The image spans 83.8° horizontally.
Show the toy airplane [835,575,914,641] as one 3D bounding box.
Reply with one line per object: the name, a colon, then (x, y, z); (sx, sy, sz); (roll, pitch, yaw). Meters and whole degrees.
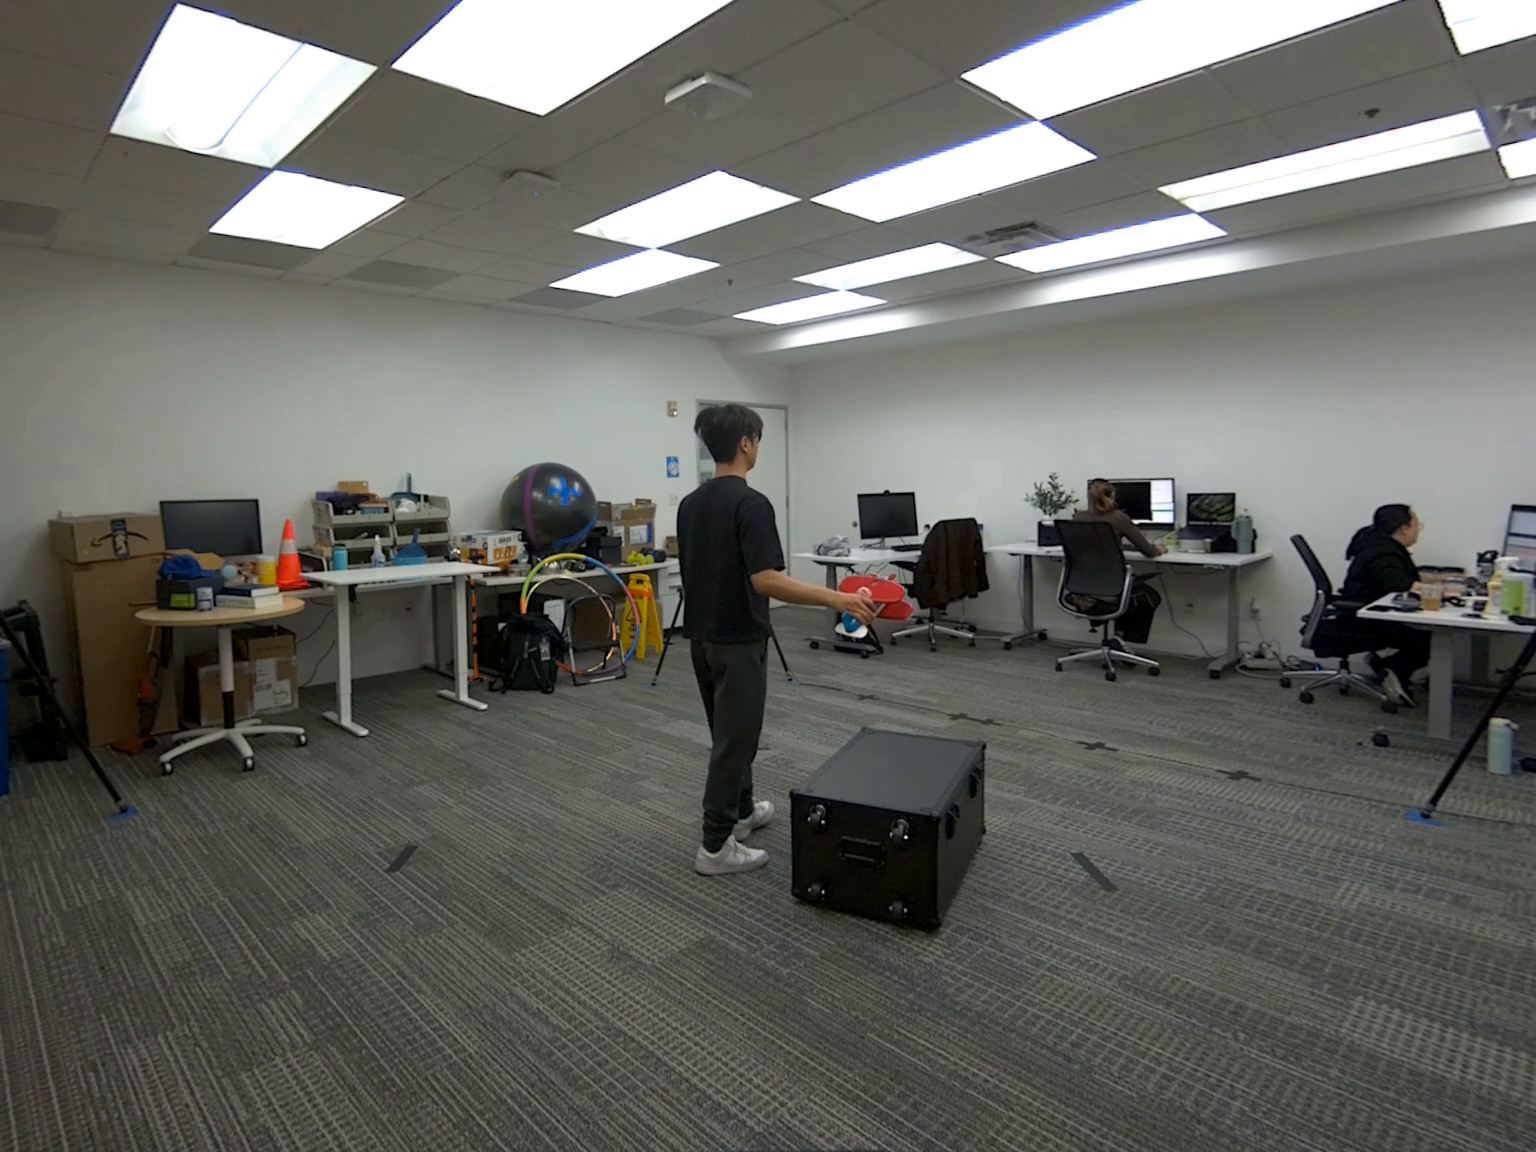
toy airplane: (0.349, 0.100, 2.821); (0.256, 0.152, 0.261); (-6, 26, 22)
